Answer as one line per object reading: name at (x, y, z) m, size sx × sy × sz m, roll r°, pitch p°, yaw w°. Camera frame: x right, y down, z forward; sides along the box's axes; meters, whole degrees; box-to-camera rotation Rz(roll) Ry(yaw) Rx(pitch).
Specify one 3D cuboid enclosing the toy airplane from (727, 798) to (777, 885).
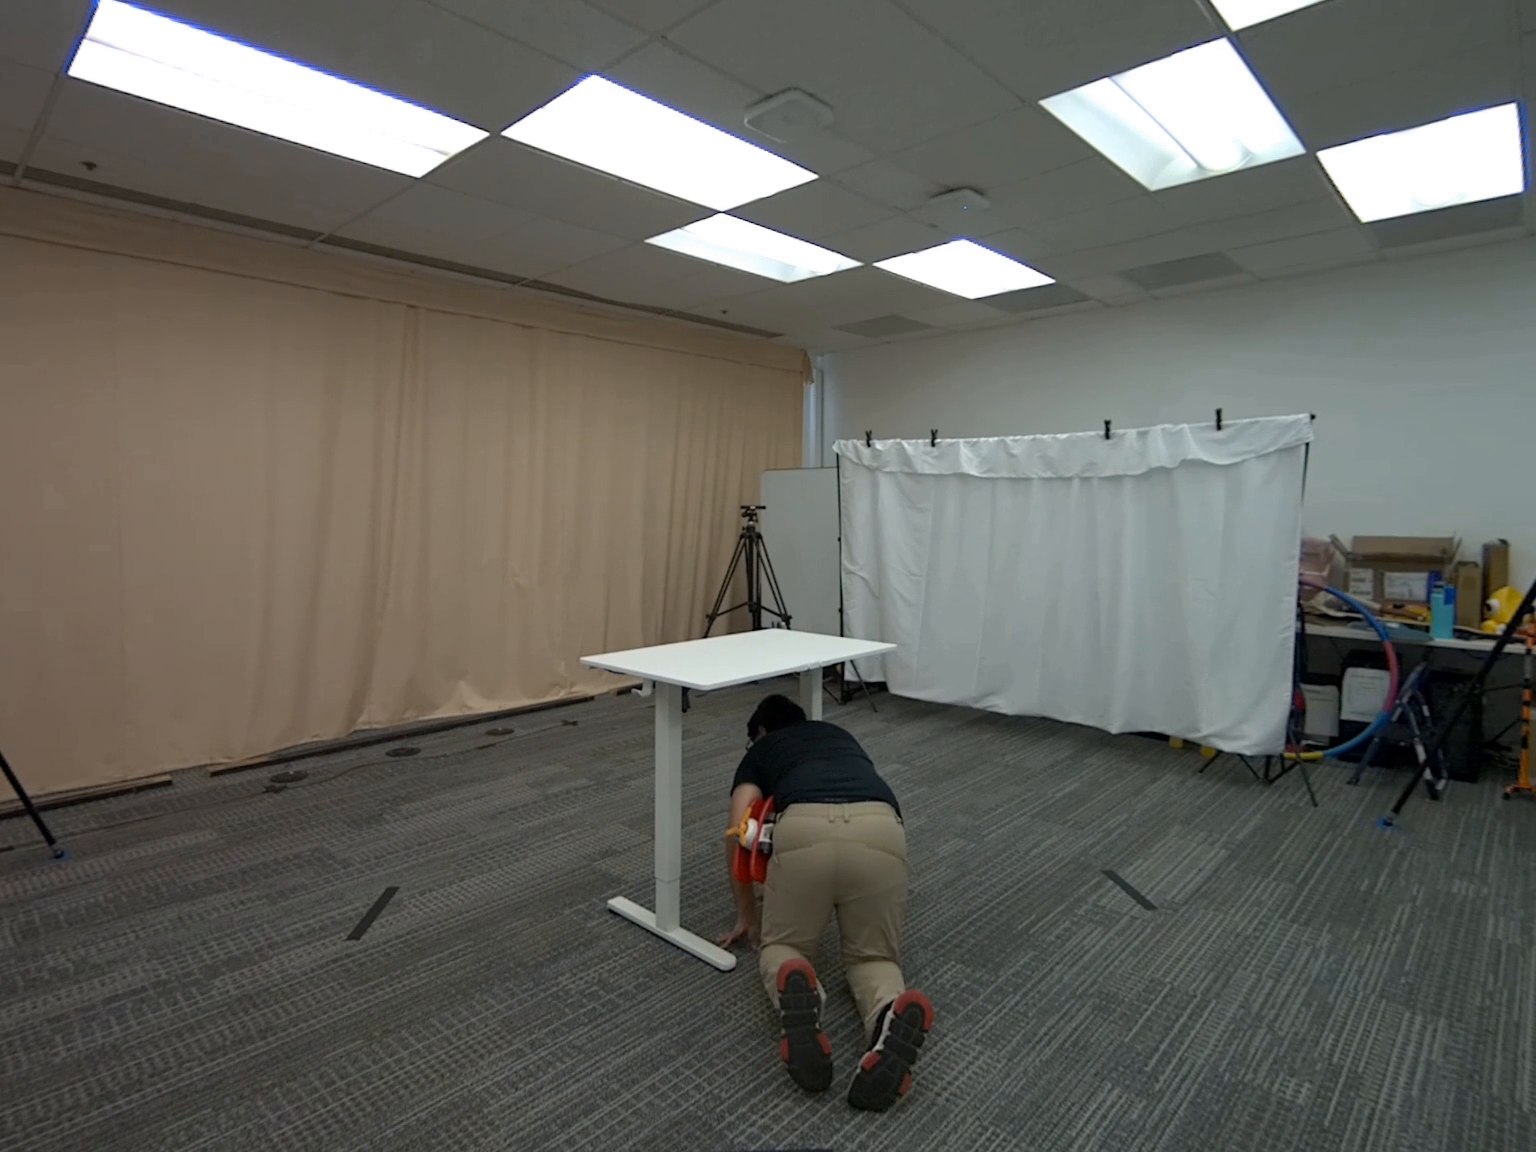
toy airplane at (-0.001, 0.819, 2.551) m, size 0.161 × 0.255 × 0.248 m, roll -12°, pitch 22°, yaw 38°
